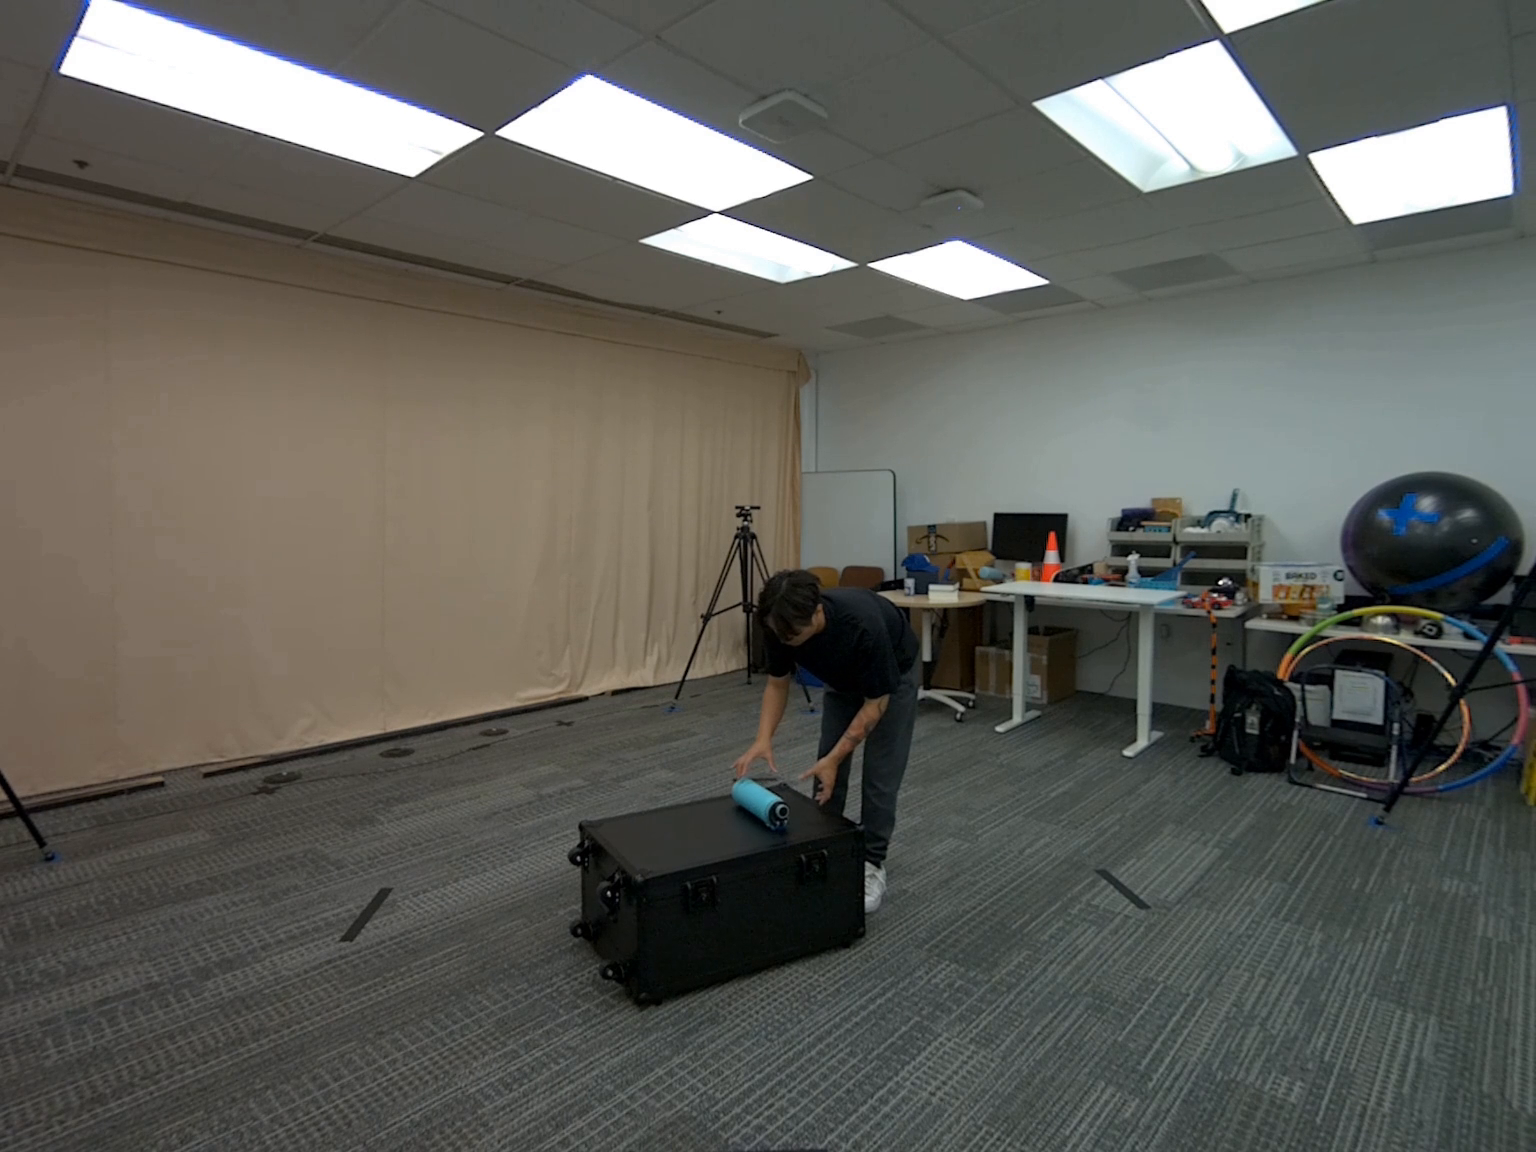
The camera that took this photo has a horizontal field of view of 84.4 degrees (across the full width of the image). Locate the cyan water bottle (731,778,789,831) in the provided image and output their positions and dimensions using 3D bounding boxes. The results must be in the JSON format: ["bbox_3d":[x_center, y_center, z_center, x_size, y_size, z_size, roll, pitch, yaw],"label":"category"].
[{"bbox_3d":[-0.013,0.735,2.748,0.090,0.092,0.291,-2,4,-28],"label":"cyan water bottle"}]
